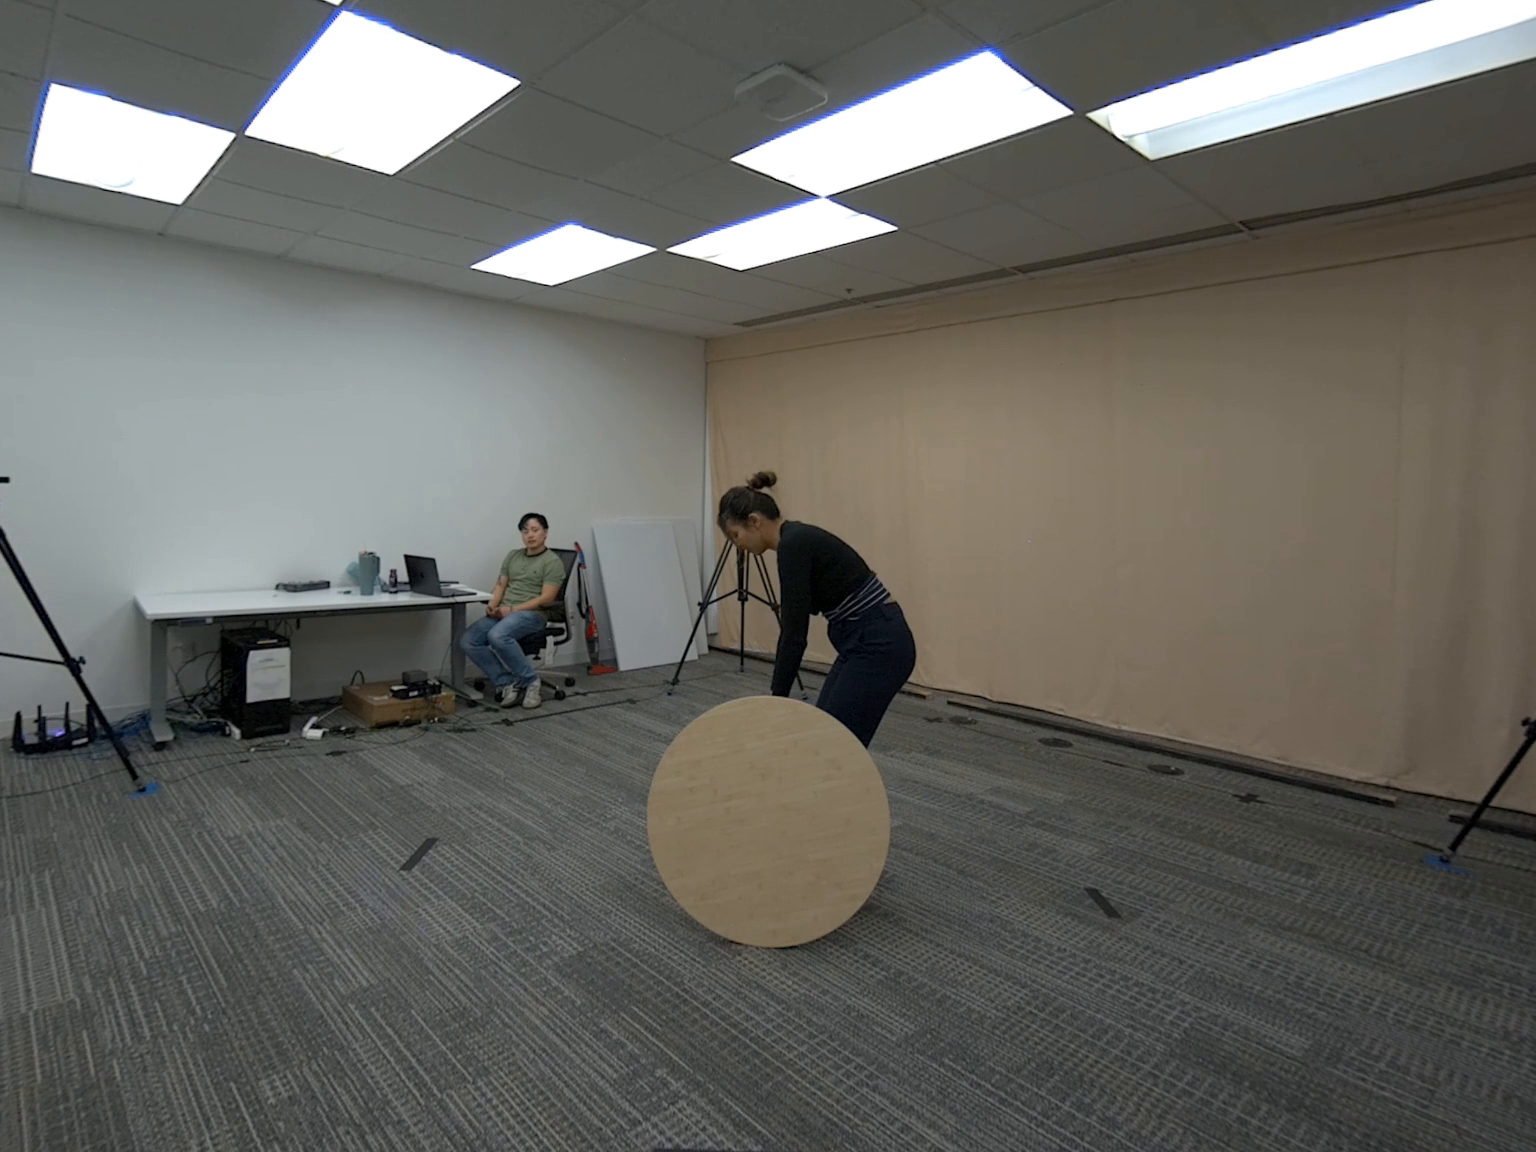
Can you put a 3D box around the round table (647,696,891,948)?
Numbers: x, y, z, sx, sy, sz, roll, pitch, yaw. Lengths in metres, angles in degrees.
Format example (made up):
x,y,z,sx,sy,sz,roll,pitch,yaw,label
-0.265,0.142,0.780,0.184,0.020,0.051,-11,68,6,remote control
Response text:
x,y,z,sx,sy,sz,roll,pitch,yaw,label
0.016,0.787,3.026,0.768,0.766,0.787,2,-4,5,round table
